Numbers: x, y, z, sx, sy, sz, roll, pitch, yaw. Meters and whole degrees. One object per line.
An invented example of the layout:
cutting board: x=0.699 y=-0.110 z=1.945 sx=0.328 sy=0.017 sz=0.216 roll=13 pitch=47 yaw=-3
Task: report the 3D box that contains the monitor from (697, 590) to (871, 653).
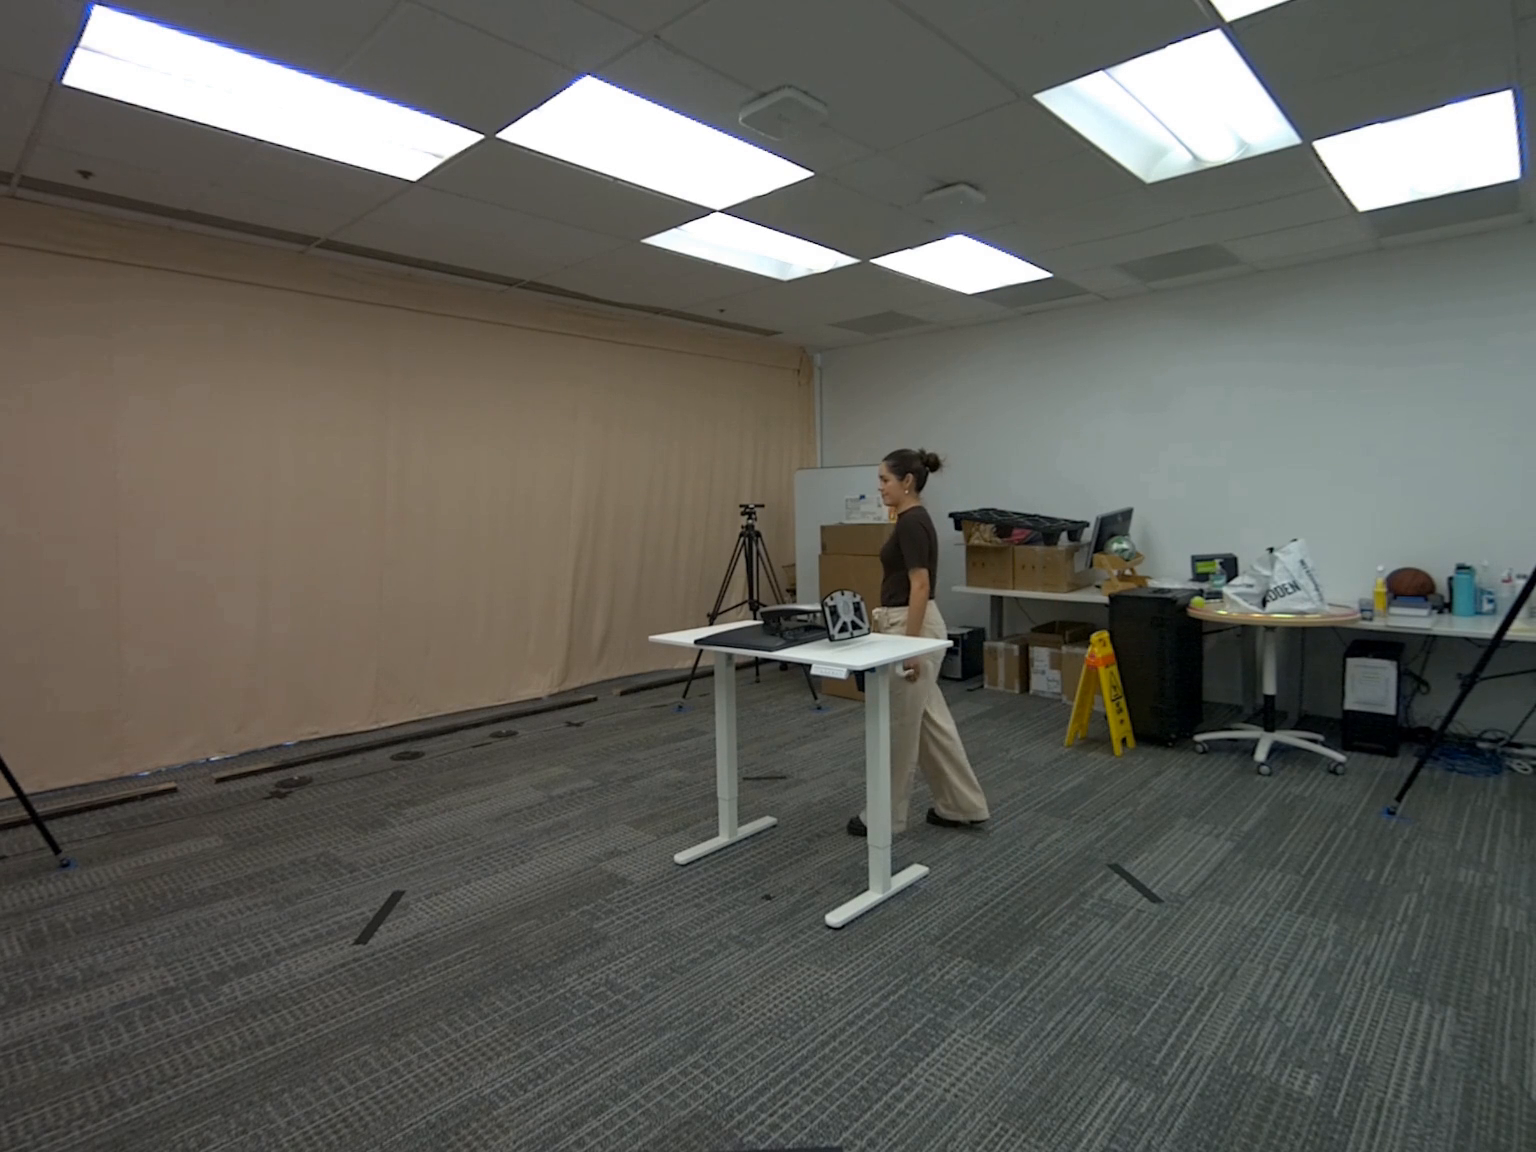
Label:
monitor: x=0.087 y=0.187 z=3.153 sx=0.536 sy=0.188 sz=0.522 roll=-14 pitch=-7 yaw=38
